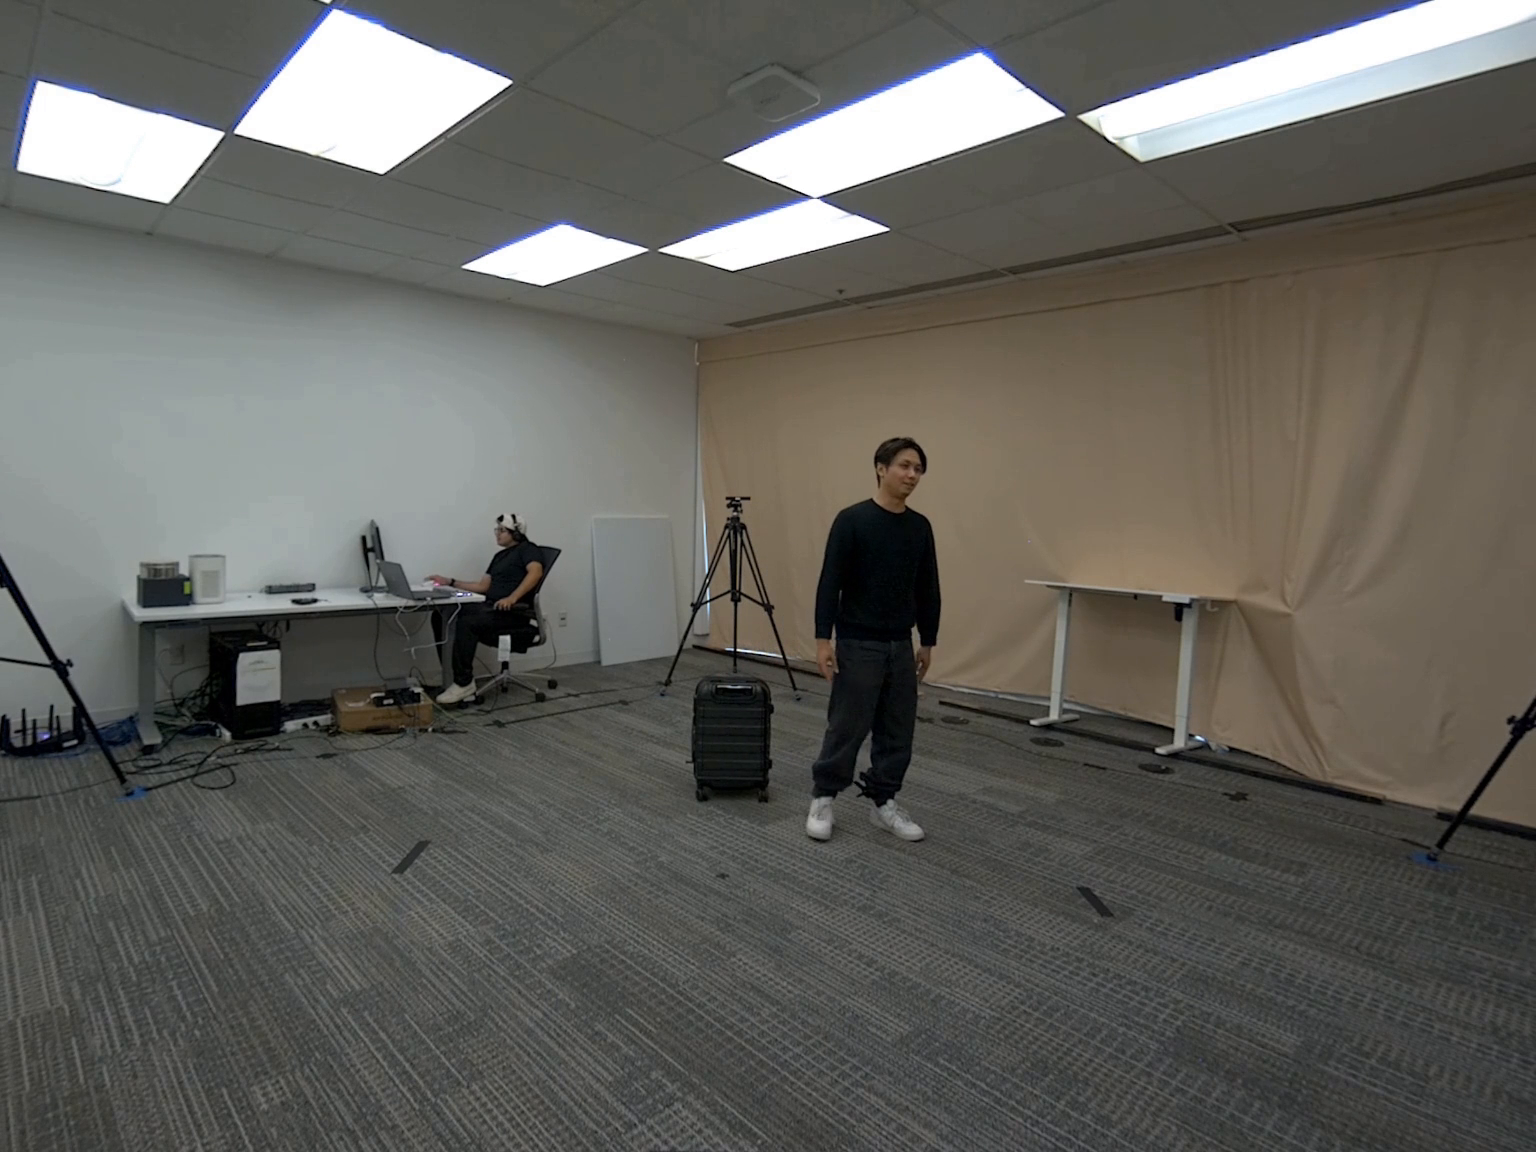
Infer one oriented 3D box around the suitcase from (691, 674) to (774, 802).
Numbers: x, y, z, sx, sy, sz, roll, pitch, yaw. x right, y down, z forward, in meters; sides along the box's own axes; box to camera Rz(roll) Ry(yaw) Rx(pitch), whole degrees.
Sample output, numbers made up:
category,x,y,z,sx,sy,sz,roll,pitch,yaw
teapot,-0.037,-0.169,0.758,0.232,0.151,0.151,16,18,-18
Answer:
category,x,y,z,sx,sy,sz,roll,pitch,yaw
suitcase,-0.185,0.753,4.016,0.375,0.549,0.249,2,2,-1
